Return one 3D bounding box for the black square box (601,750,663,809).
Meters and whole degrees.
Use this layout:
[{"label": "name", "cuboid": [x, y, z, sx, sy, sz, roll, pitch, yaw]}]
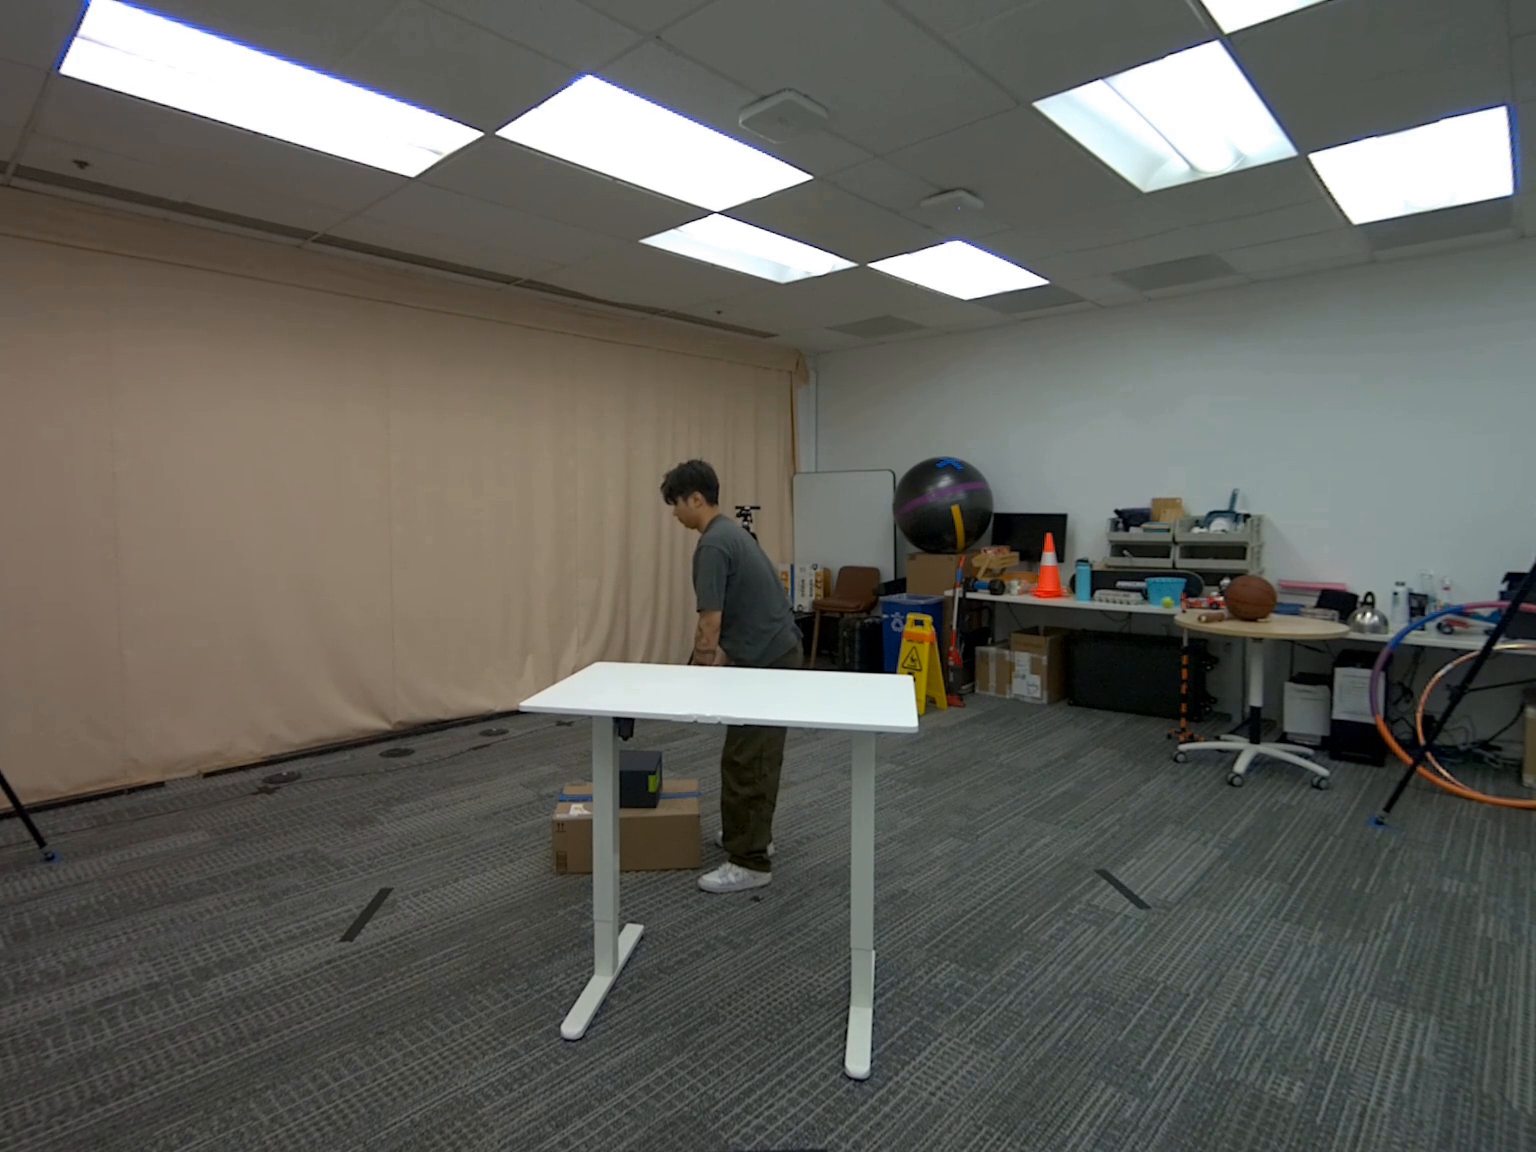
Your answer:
[{"label": "black square box", "cuboid": [-0.543, 0.812, 3.397, 0.217, 0.155, 0.228, -1, 5, 0]}]
